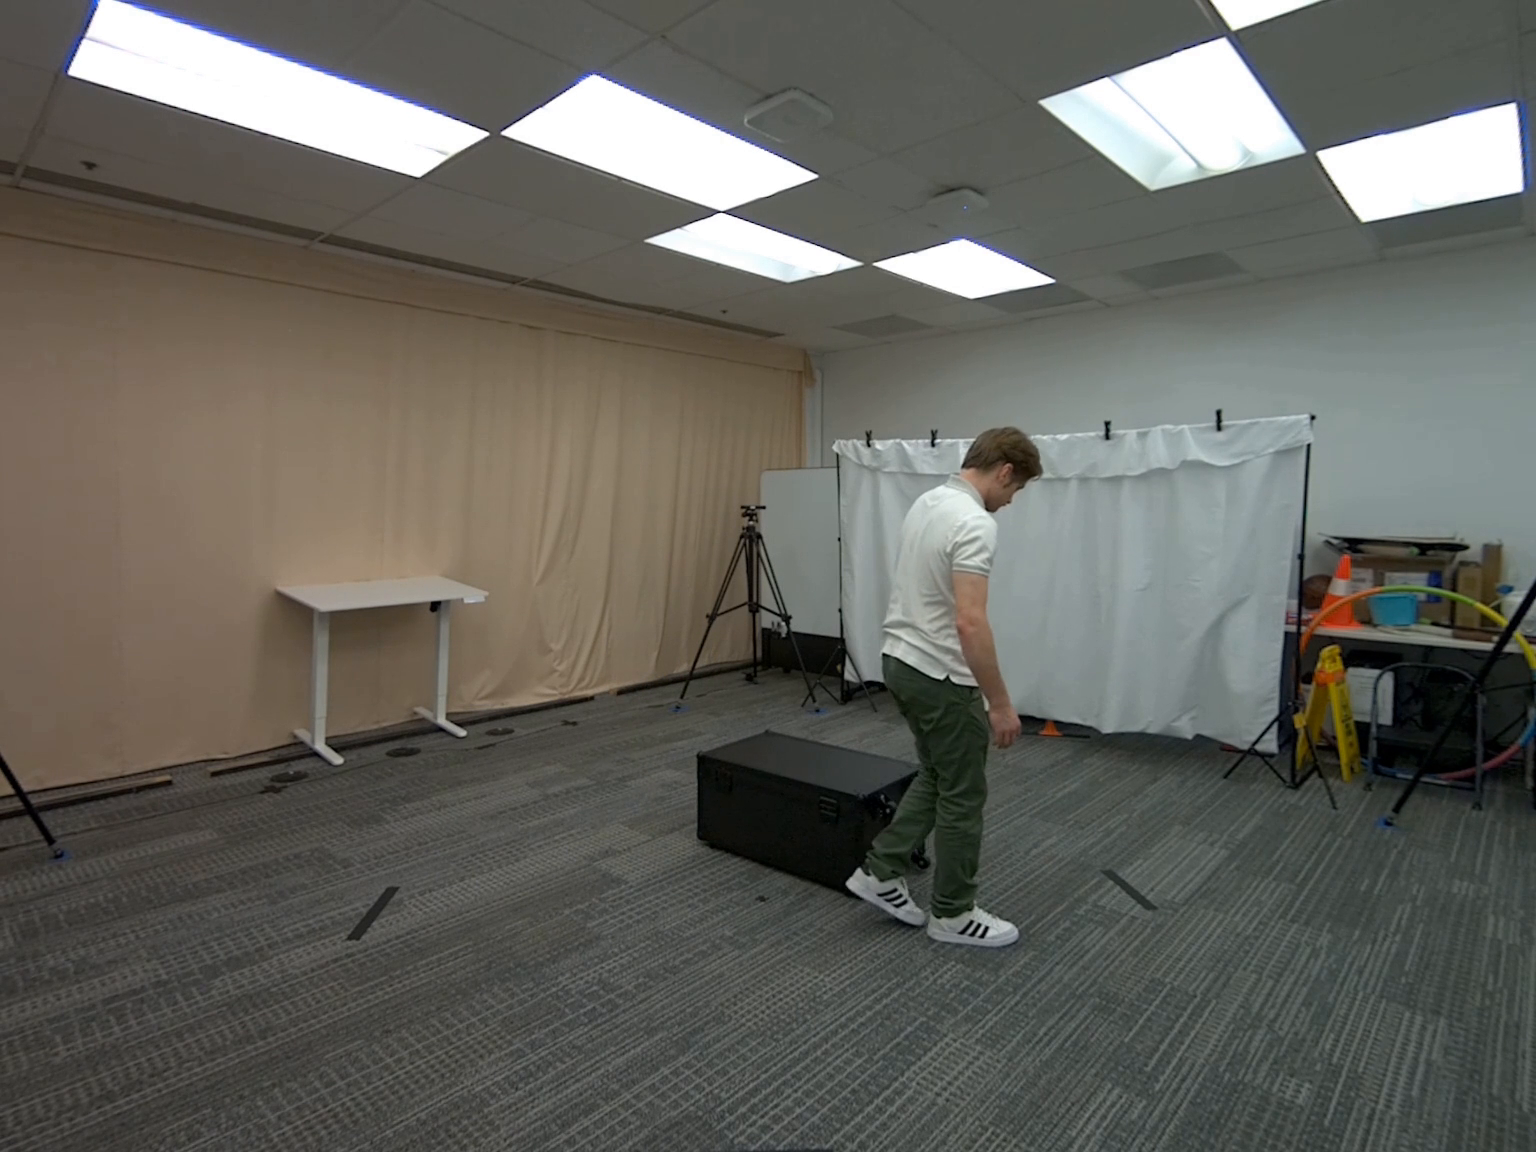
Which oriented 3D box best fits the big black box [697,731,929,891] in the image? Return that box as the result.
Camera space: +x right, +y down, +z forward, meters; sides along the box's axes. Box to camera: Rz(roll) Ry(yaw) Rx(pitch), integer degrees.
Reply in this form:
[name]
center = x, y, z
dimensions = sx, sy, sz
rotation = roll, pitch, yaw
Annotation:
[big black box]
center = 0.193, 0.916, 3.347
dimensions = 0.897, 0.384, 0.507
rotation = 4, 5, 39
